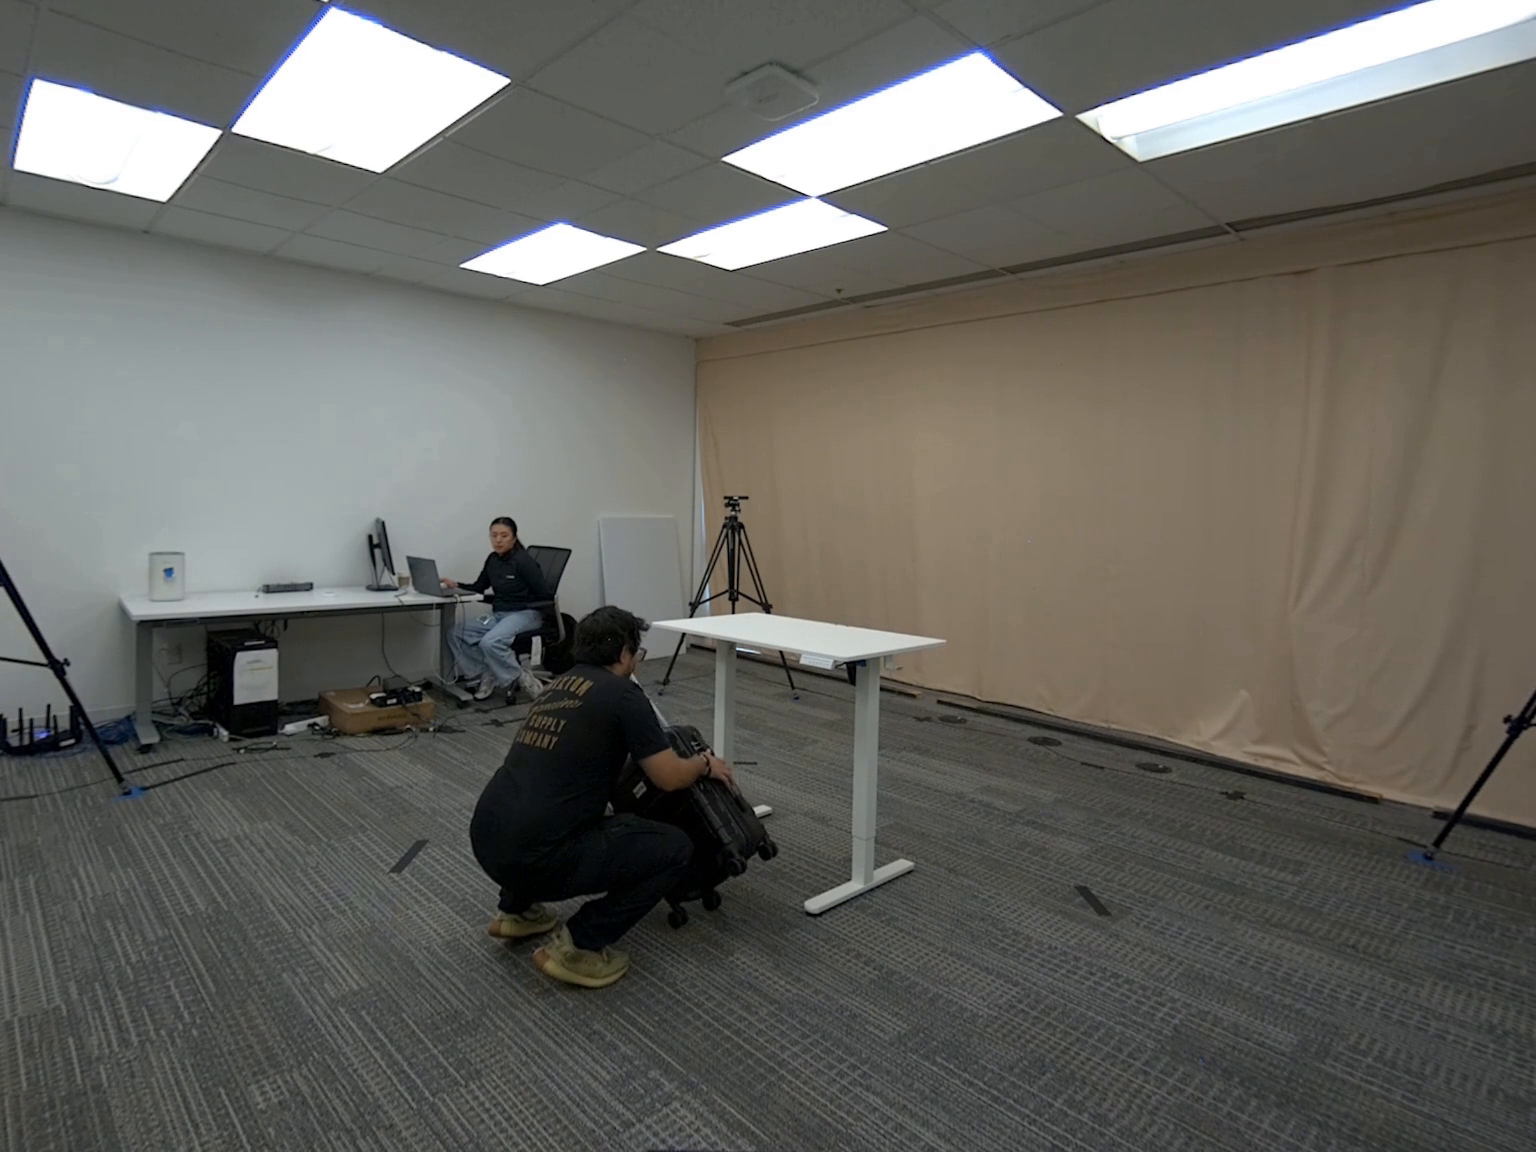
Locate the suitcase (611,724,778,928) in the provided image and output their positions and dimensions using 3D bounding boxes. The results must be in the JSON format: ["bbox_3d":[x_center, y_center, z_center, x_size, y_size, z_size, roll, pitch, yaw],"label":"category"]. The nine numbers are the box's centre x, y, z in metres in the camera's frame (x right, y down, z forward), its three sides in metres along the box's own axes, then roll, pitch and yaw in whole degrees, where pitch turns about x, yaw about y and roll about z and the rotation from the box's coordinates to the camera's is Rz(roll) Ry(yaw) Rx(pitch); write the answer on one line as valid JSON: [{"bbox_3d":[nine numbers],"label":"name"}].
[{"bbox_3d":[-0.401,0.653,2.889,1.001,0.384,0.251,51,20,22],"label":"suitcase"}]
